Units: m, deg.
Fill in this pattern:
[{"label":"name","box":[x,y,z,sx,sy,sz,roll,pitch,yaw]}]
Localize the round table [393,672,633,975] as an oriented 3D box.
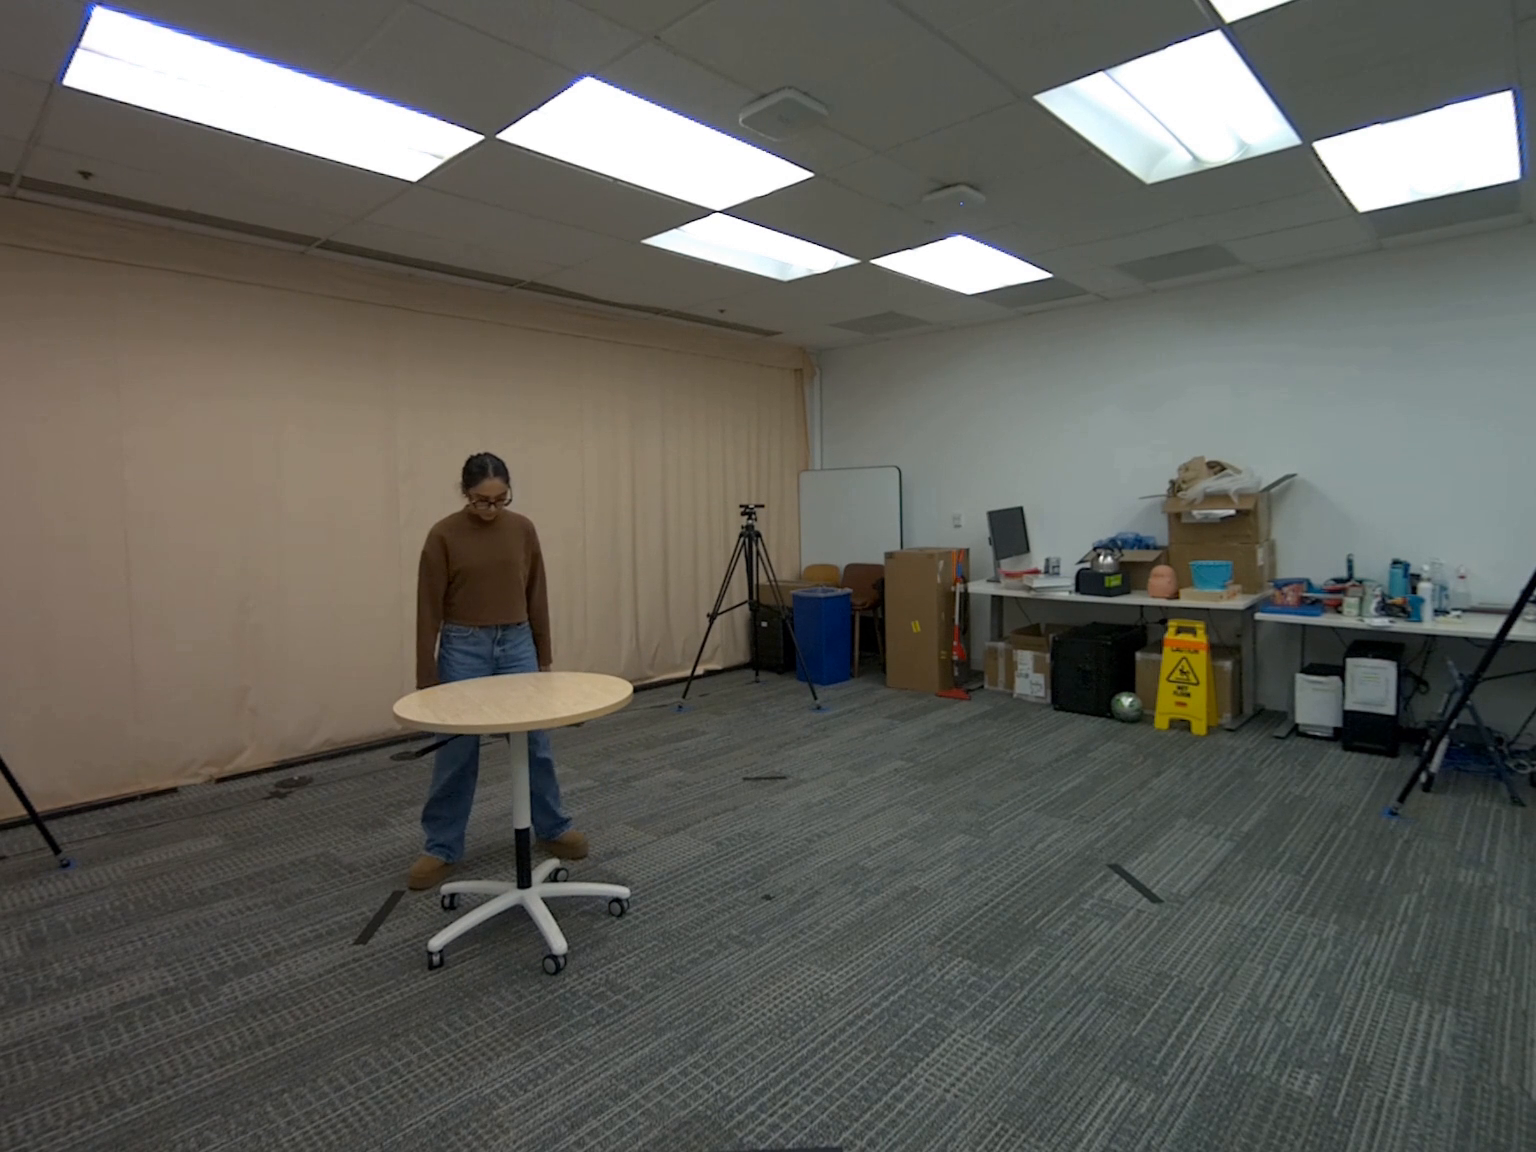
[{"label":"round table","box":[-0.819,0.788,2.783,0.763,0.792,0.766,-2,4,-2]}]
